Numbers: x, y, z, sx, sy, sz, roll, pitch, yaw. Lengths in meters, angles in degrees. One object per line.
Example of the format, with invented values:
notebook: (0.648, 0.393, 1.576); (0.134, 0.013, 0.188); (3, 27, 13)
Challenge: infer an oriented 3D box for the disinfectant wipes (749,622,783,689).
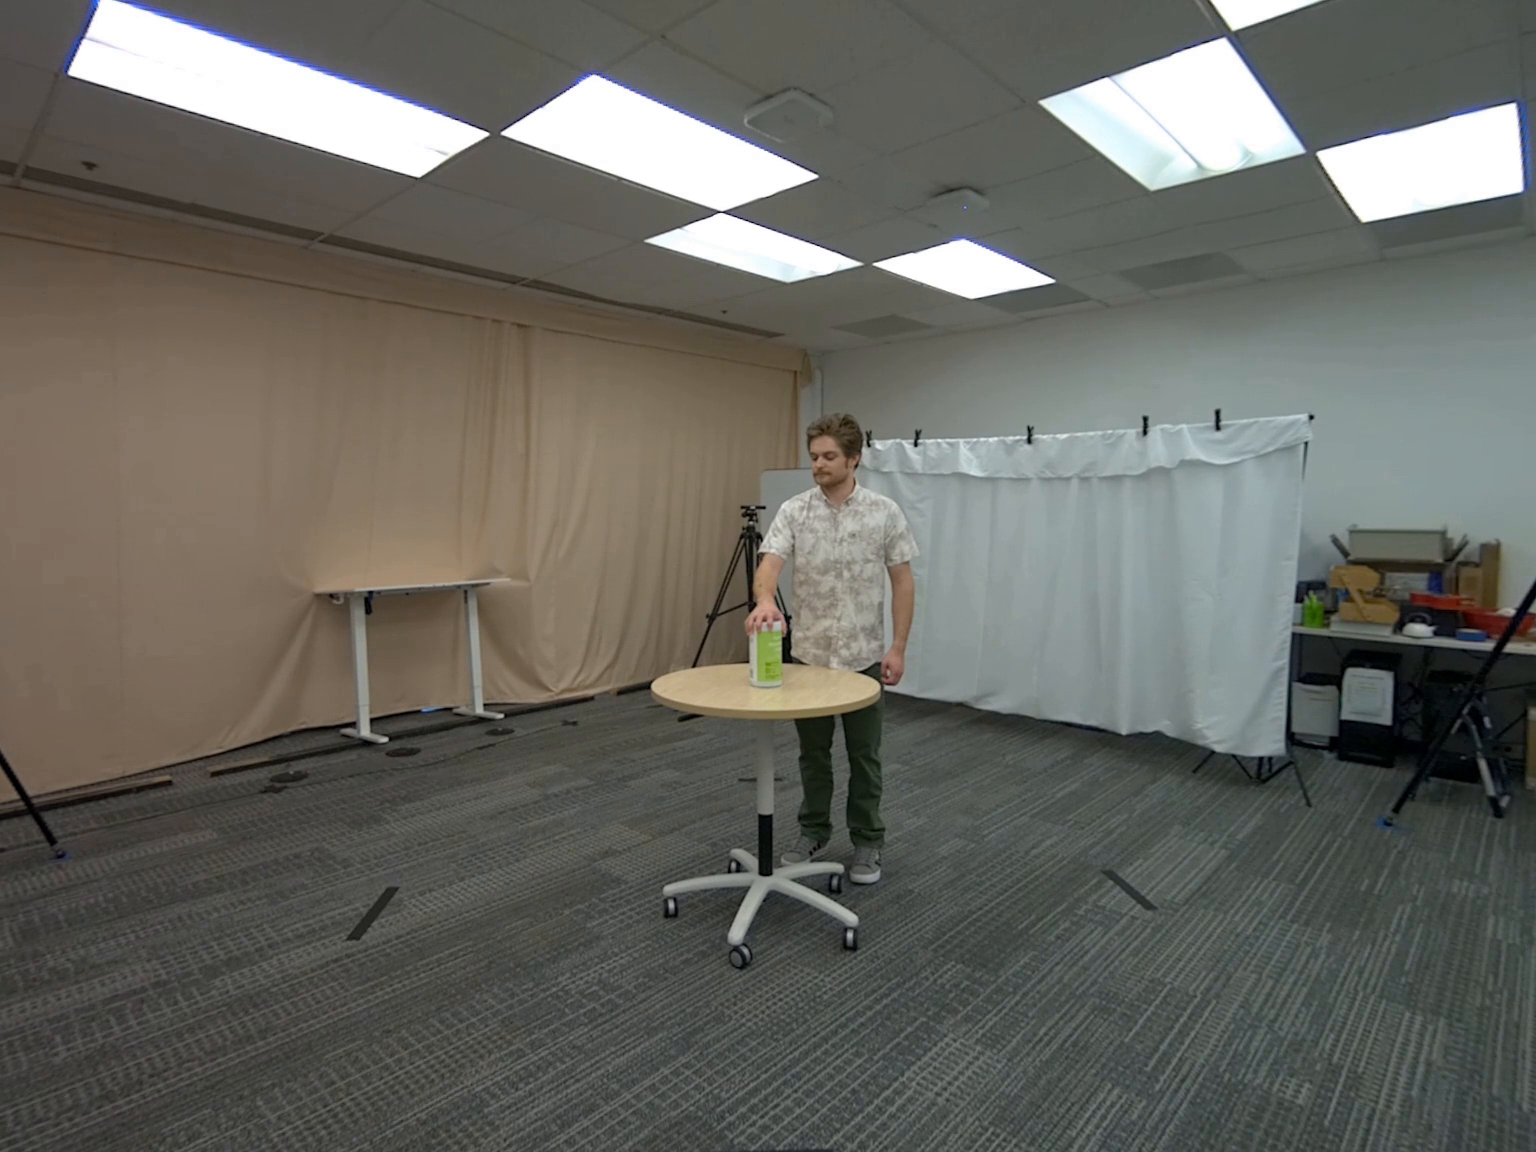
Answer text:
disinfectant wipes: (-0.006, 0.261, 2.814); (0.118, 0.217, 0.118); (1, 4, -2)
